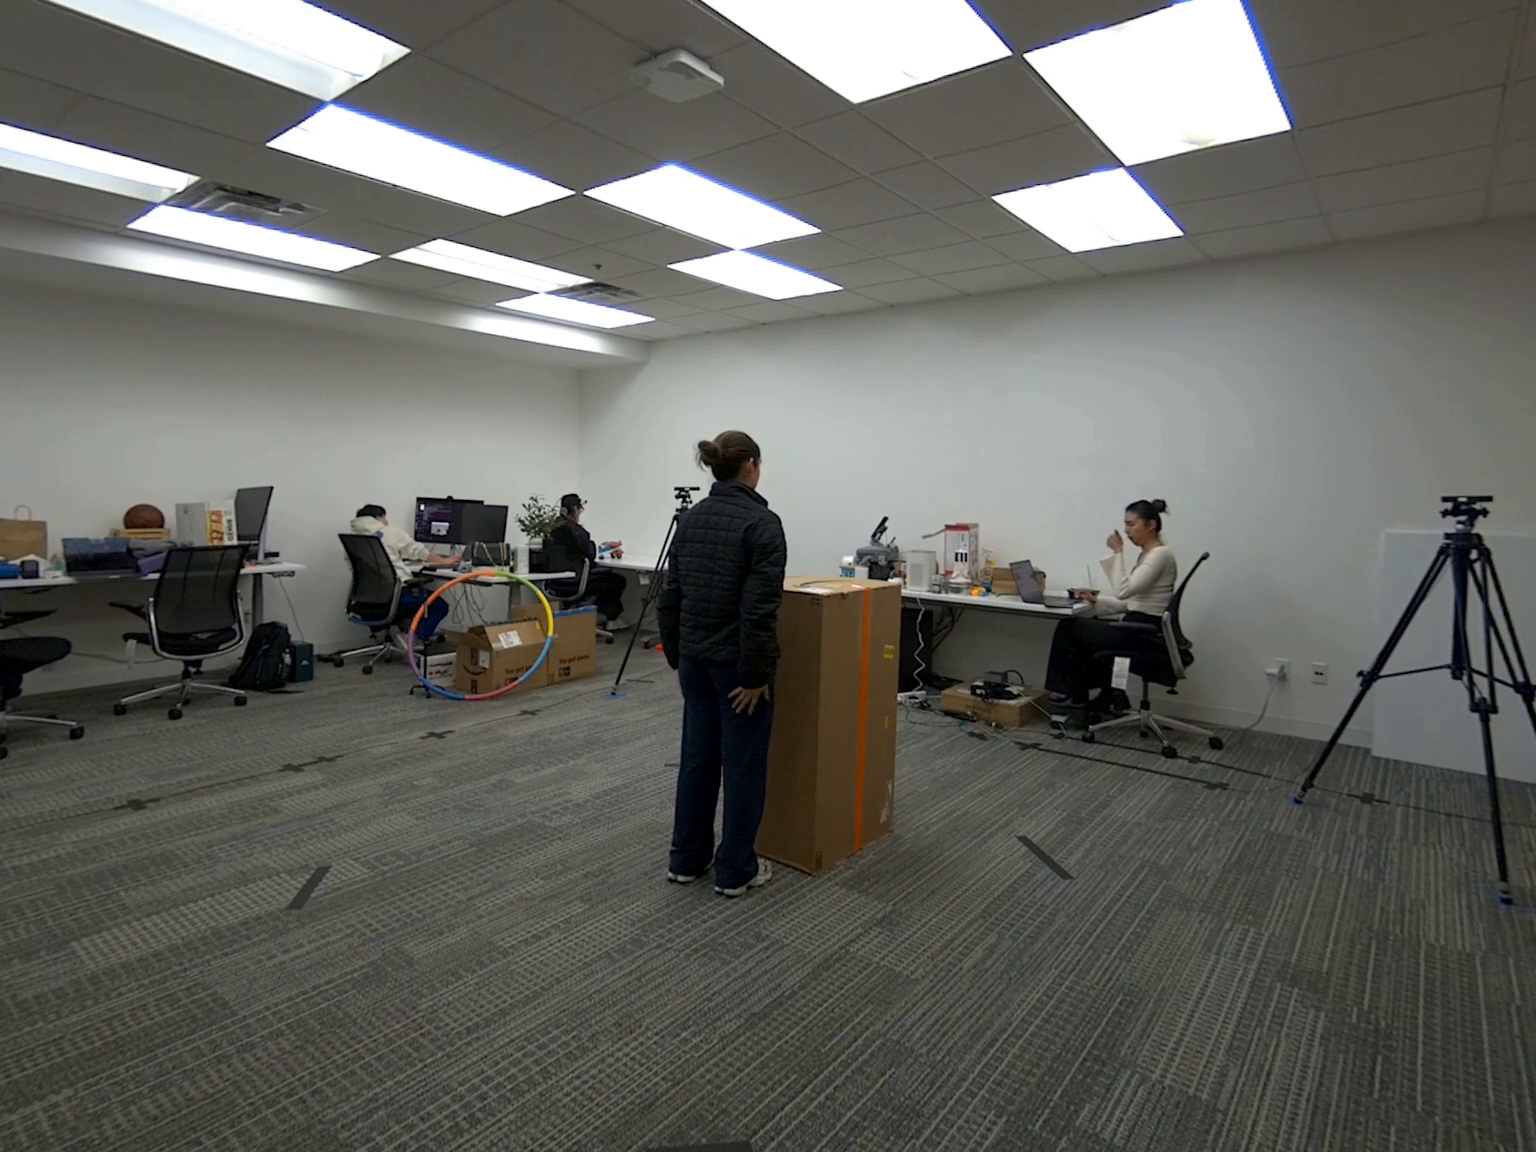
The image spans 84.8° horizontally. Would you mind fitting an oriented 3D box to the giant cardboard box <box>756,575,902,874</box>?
[{"bbox_3d":[0.213,0.535,3.398,0.440,1.023,0.560,4,4,39],"label":"giant cardboard box"}]
